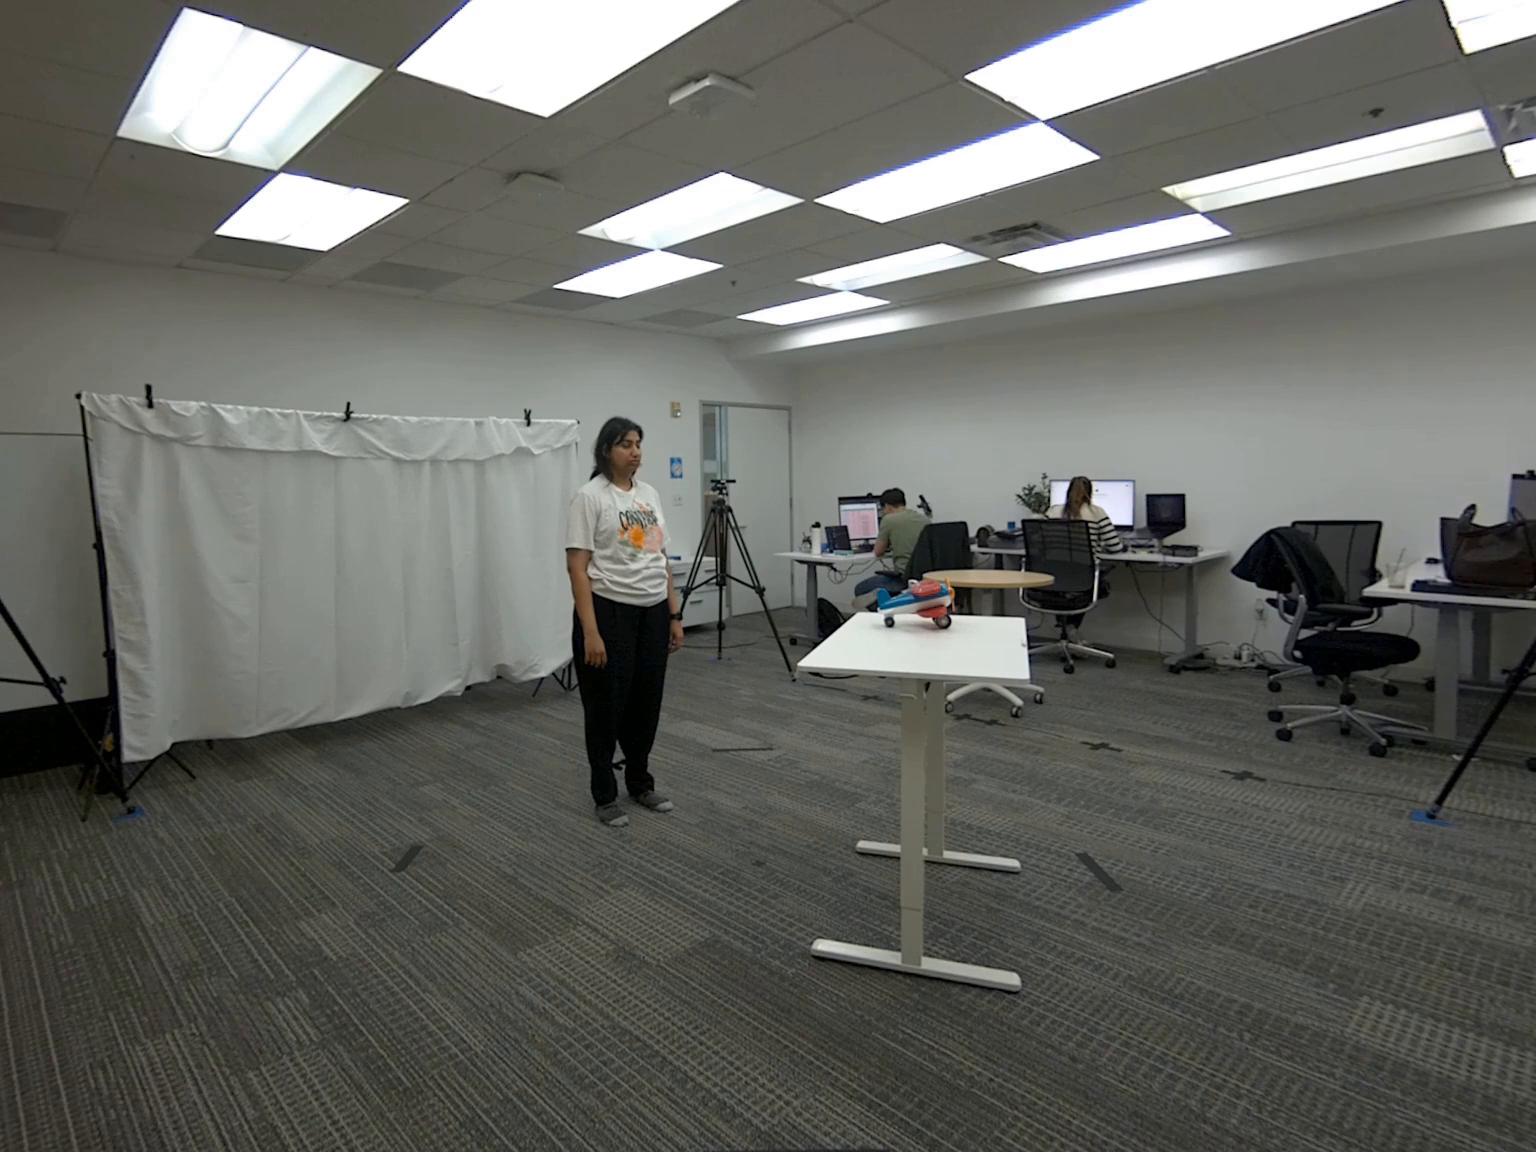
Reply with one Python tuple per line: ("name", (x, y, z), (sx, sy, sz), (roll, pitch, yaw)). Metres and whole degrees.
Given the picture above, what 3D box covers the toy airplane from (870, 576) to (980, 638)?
("toy airplane", (0.528, 0.098, 2.918), (0.254, 0.156, 0.257), (-2, 7, -23))
